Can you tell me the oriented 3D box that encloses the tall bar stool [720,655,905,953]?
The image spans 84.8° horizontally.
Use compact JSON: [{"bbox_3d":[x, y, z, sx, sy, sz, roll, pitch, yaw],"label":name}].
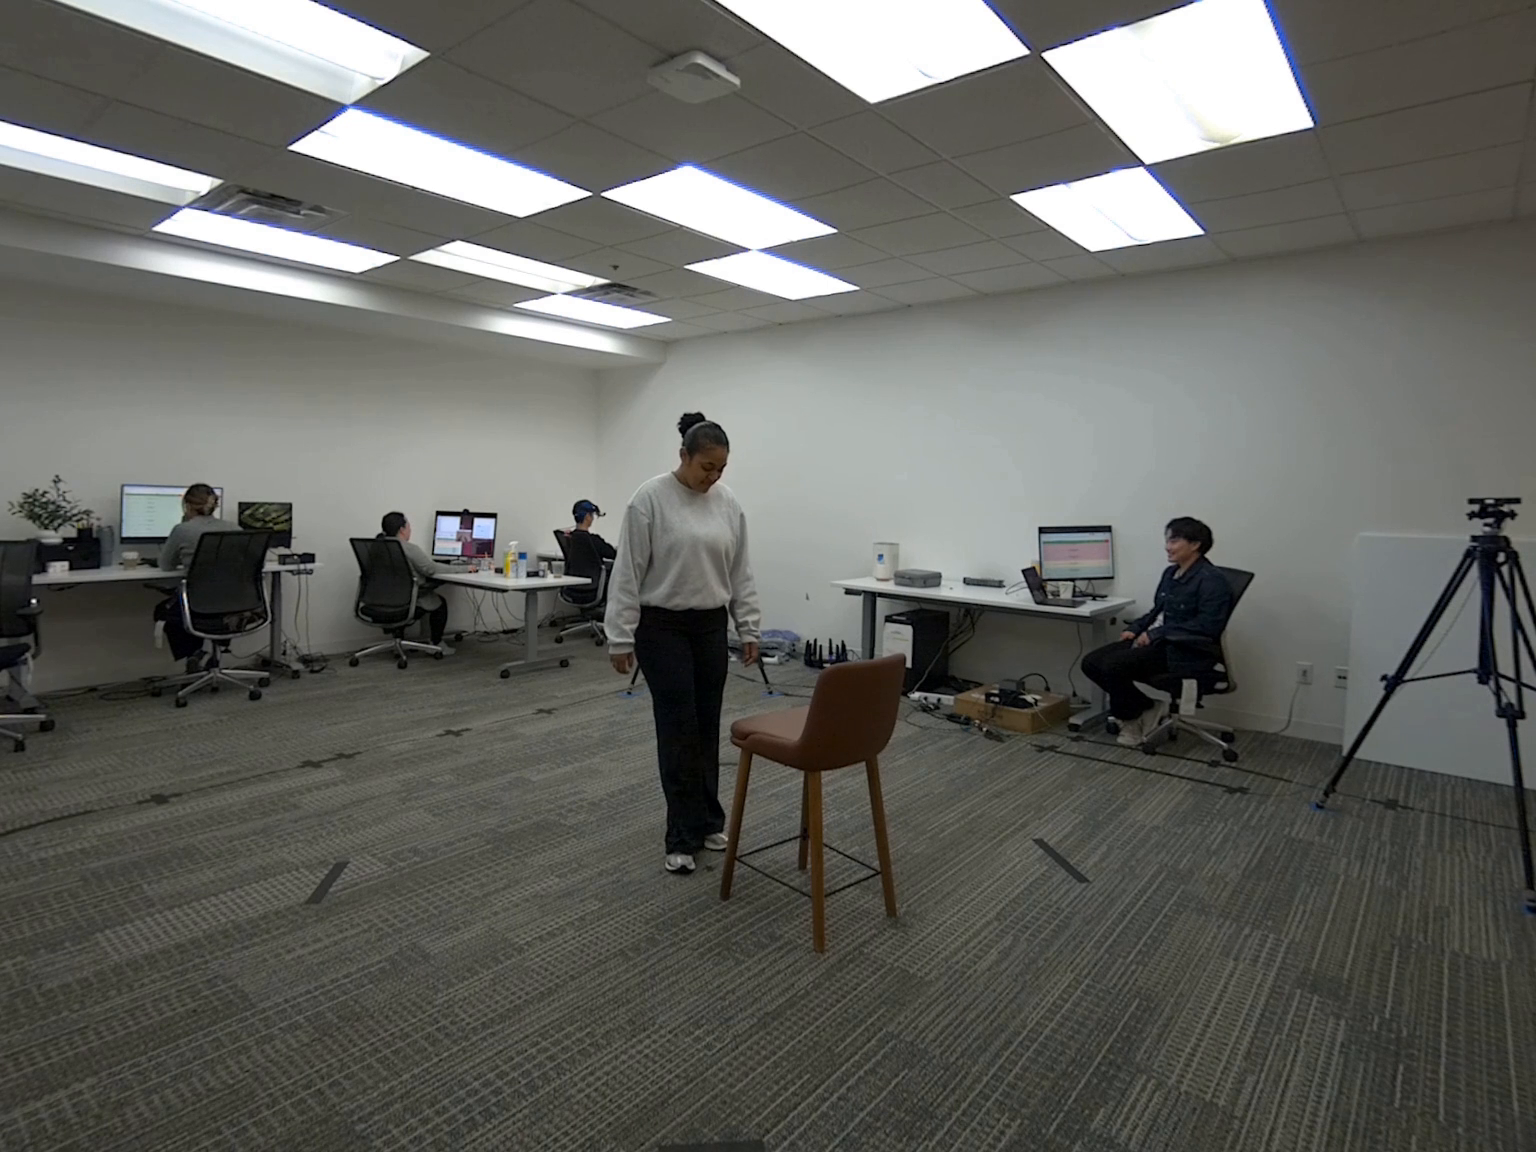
[{"bbox_3d":[0.149,0.667,2.815,0.442,0.886,0.484,-1,6,-42],"label":"tall bar stool"}]
